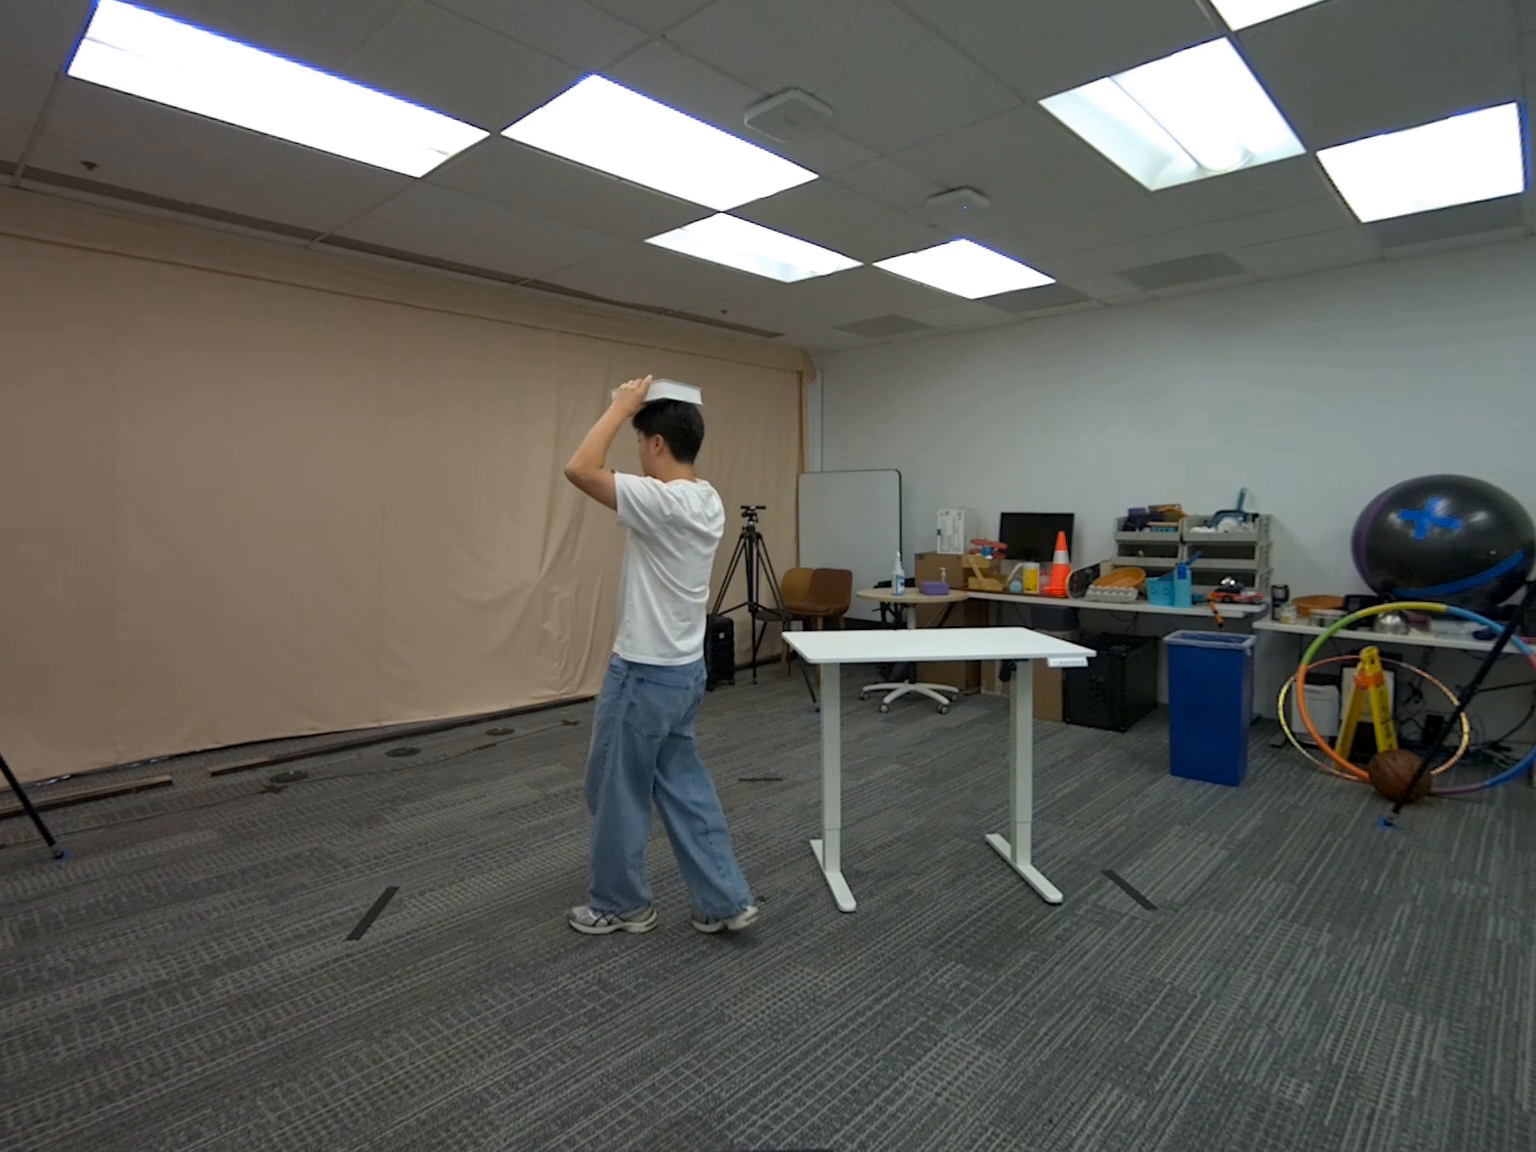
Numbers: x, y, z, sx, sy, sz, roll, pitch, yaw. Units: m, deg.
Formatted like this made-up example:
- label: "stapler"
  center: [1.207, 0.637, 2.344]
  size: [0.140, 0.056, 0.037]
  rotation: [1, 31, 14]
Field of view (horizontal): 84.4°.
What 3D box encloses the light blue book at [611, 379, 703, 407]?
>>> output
- label: "light blue book"
  center: [-0.342, -0.573, 2.683]
  size: [0.196, 0.059, 0.256]
  rotation: [-5, 4, 23]
